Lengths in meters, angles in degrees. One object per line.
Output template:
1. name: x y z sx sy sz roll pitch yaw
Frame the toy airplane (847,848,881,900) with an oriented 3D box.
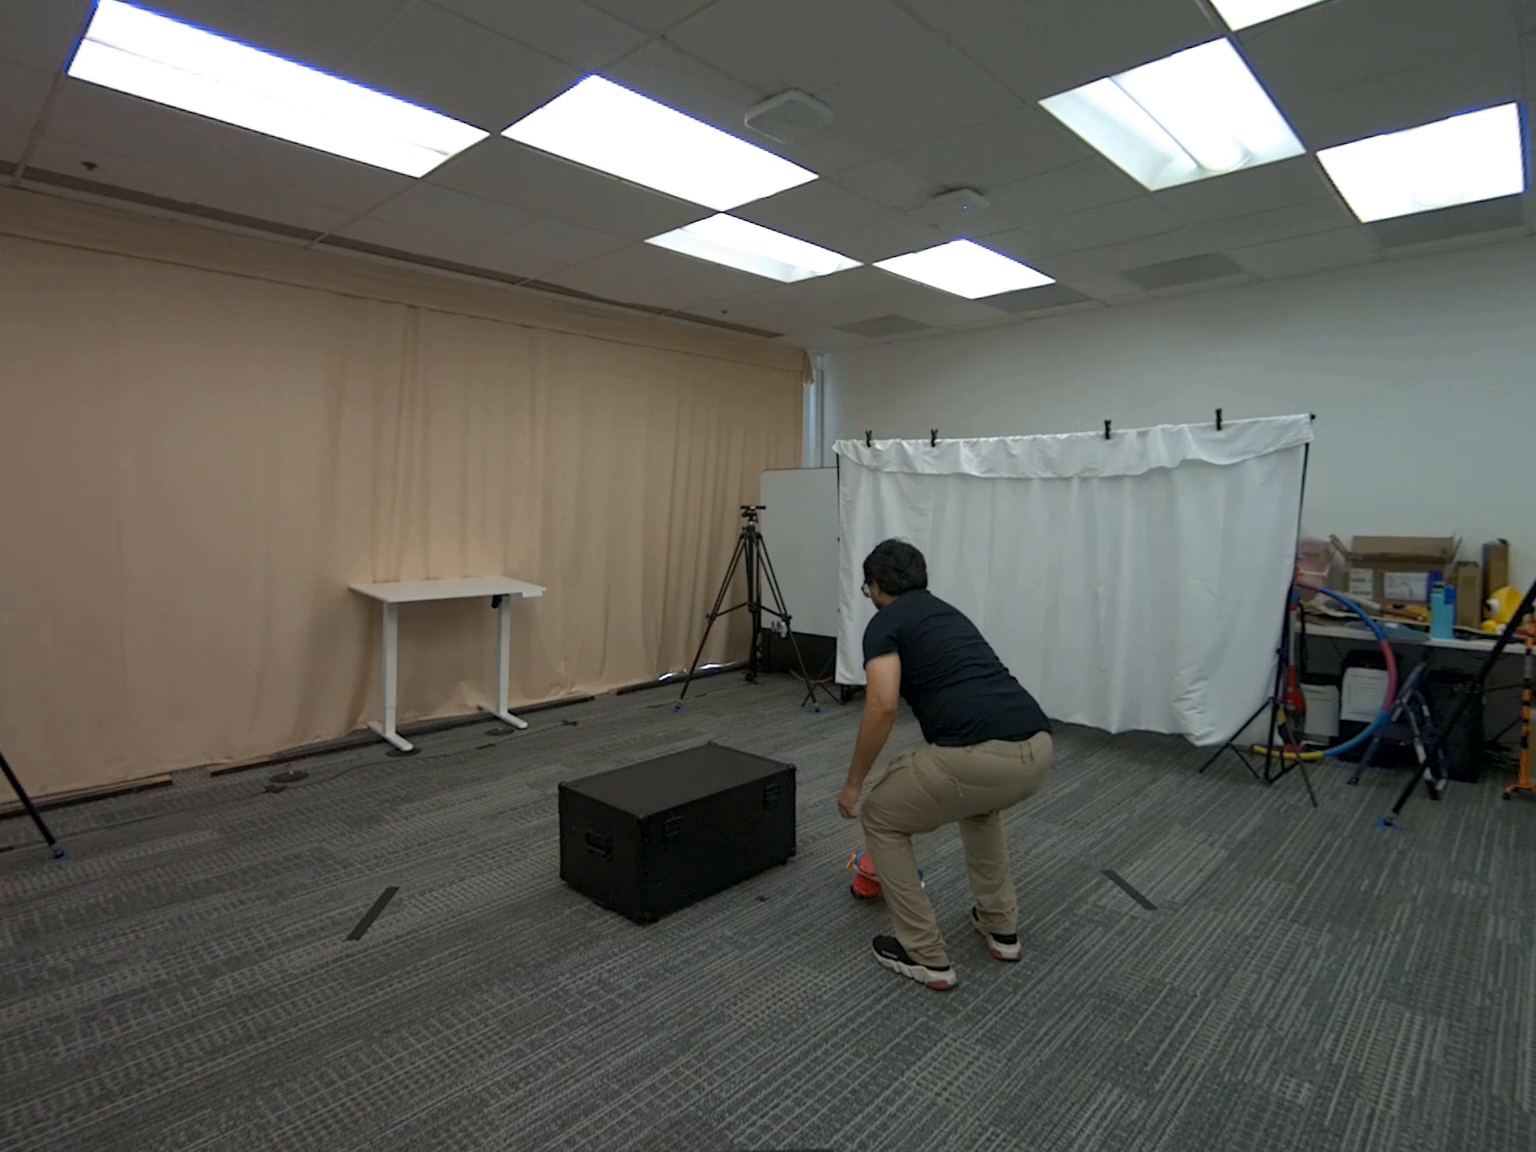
1. toy airplane: 0.424 1.070 3.002 0.259 0.156 0.251 -1 4 0
